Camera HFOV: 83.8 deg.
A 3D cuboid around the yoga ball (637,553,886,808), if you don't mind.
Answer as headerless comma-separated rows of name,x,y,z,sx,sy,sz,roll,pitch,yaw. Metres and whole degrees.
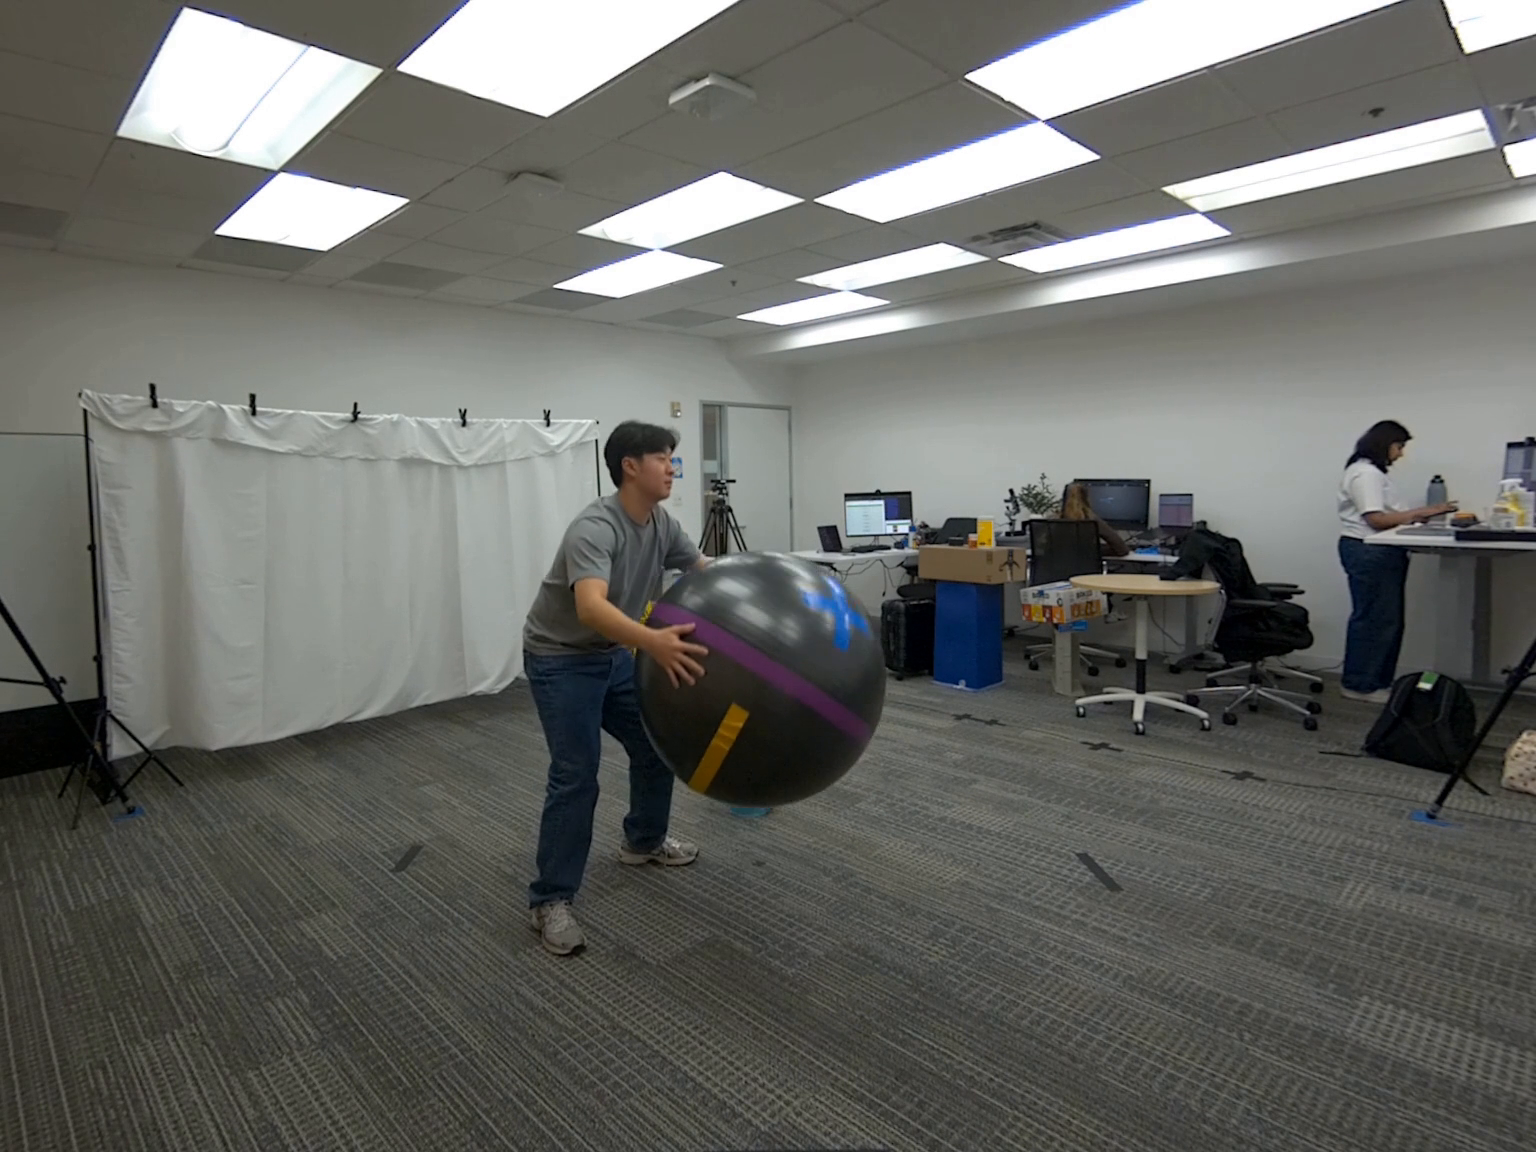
yoga ball,-0.027,0.307,2.573,0.757,0.755,0.762,-1,5,-2
